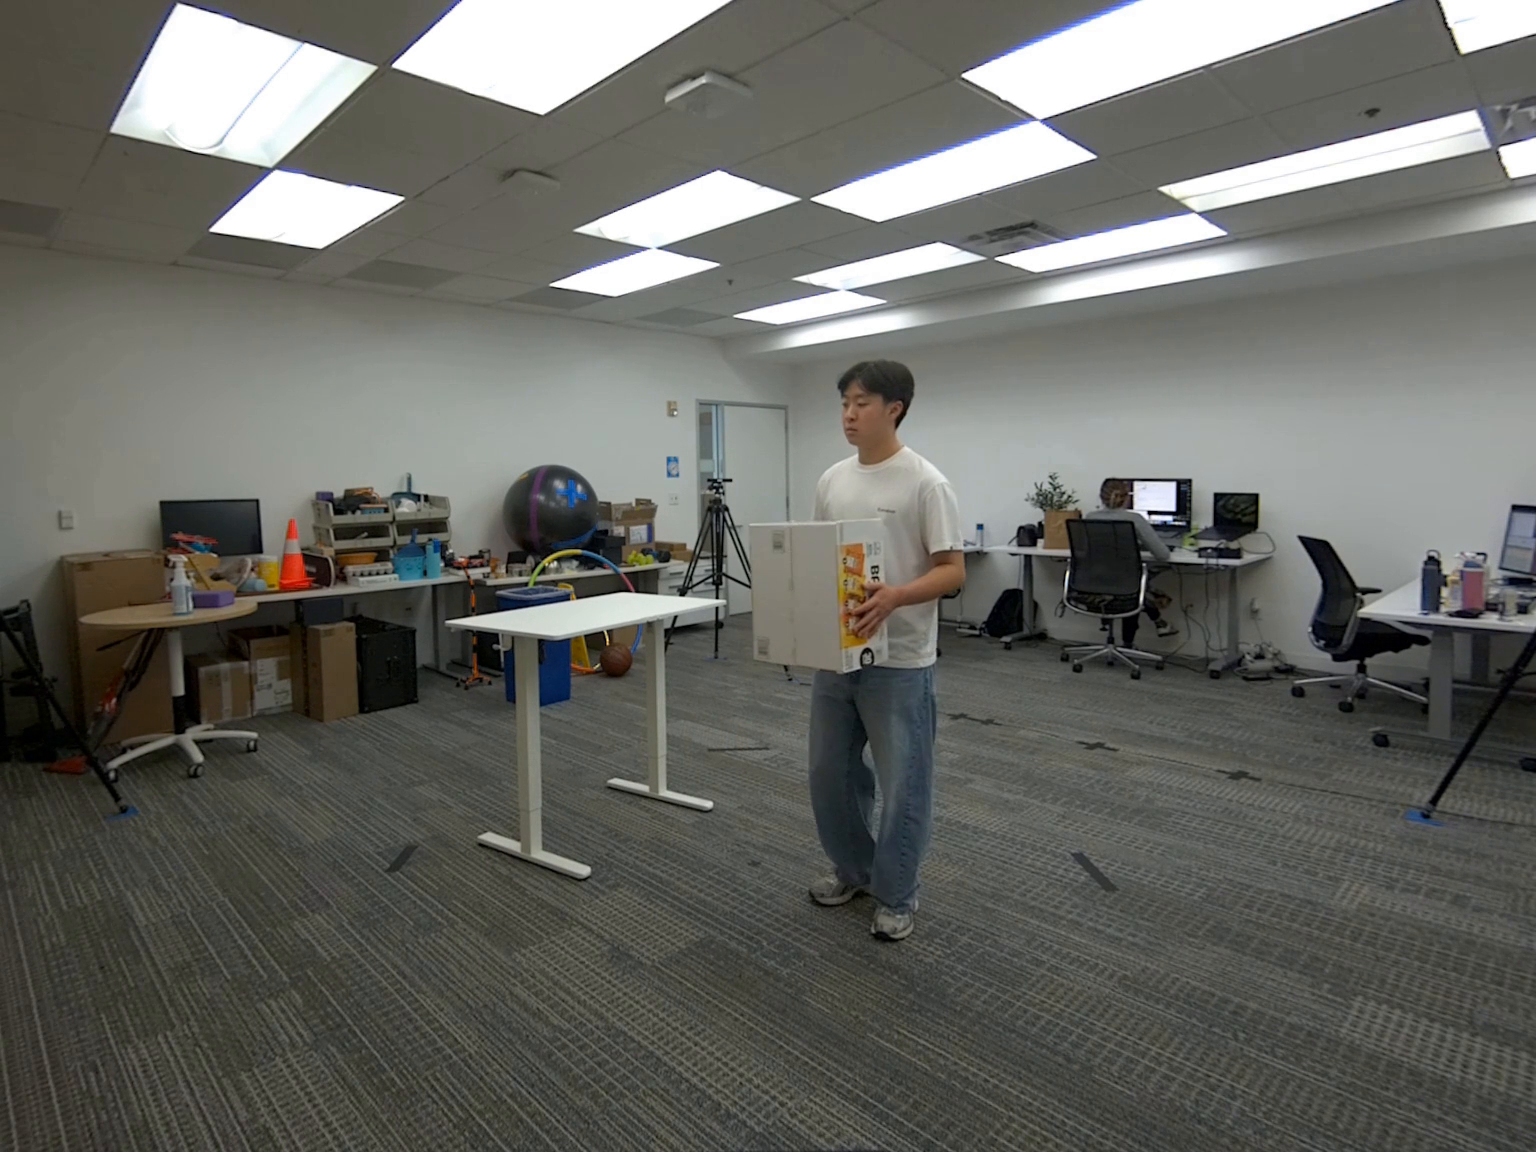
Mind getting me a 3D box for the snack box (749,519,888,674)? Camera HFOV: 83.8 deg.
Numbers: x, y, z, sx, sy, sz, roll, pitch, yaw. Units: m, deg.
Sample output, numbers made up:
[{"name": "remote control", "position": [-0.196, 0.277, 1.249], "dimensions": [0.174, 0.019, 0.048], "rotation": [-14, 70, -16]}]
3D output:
[{"name": "snack box", "position": [0.137, 0.042, 2.456], "dimensions": [0.200, 0.404, 0.350], "rotation": [-5, 4, -44]}]
